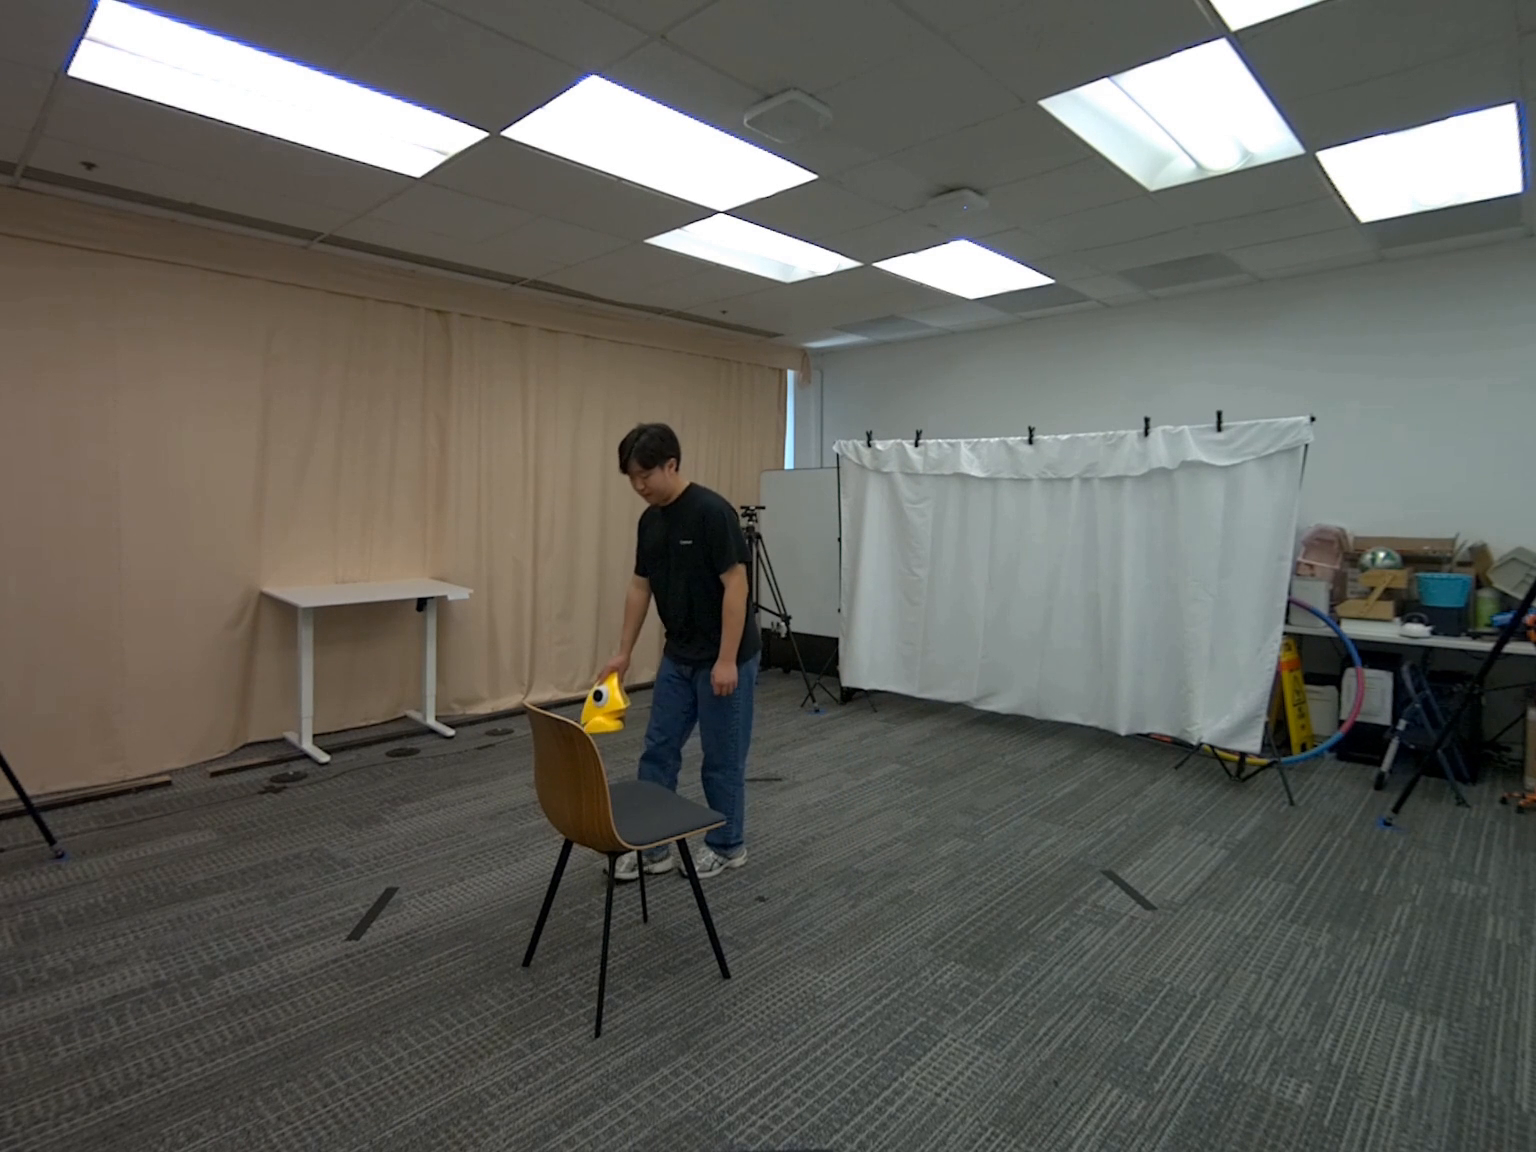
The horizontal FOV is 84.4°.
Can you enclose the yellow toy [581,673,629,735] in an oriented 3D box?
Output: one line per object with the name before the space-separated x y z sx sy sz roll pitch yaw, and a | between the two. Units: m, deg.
yellow toy | -0.615 0.481 3.231 0.193 0.231 0.204 -5 -5 -3
